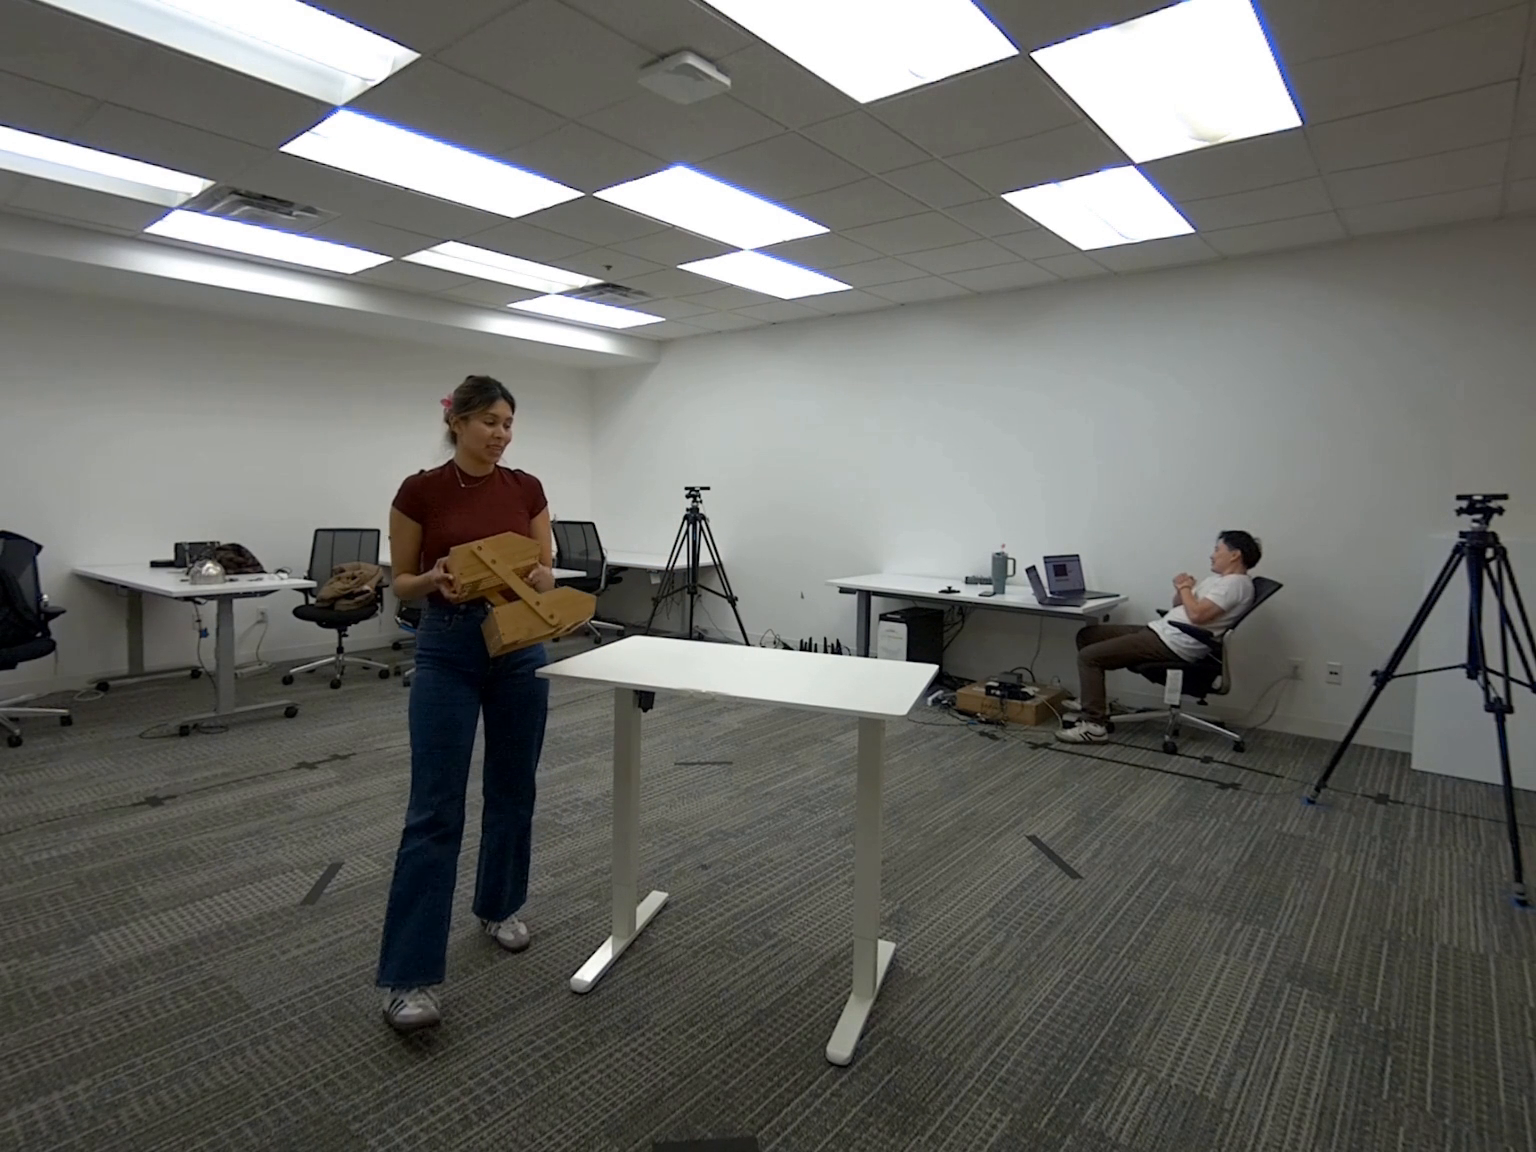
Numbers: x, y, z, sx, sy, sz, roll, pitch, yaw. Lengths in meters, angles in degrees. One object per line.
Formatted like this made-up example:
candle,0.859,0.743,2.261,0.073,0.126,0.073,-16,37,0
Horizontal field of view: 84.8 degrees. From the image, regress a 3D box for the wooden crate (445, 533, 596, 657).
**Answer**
wooden crate,-0.665,0.037,2.199,0.297,0.275,0.327,-17,-5,-25
